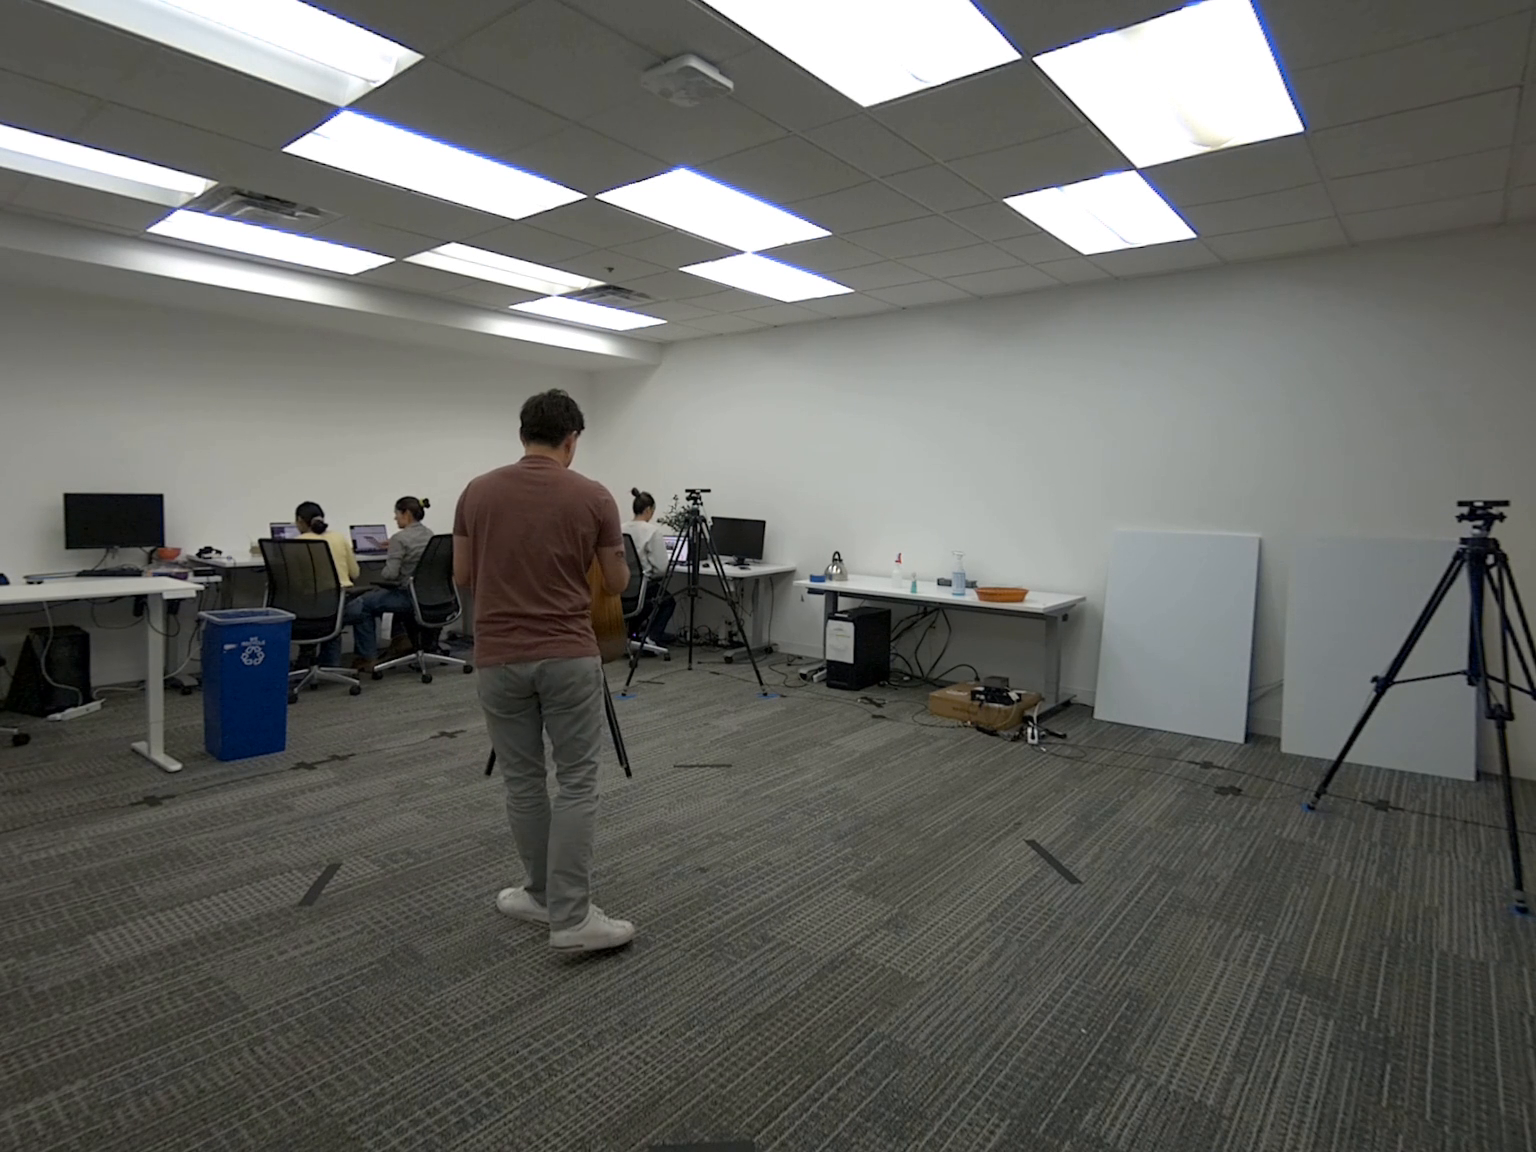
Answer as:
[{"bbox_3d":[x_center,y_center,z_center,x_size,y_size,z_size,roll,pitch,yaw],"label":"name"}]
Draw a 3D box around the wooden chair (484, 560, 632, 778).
[{"bbox_3d":[-0.765,0.287,3.077,0.475,0.891,0.518,-4,-15,-7],"label":"wooden chair"}]
